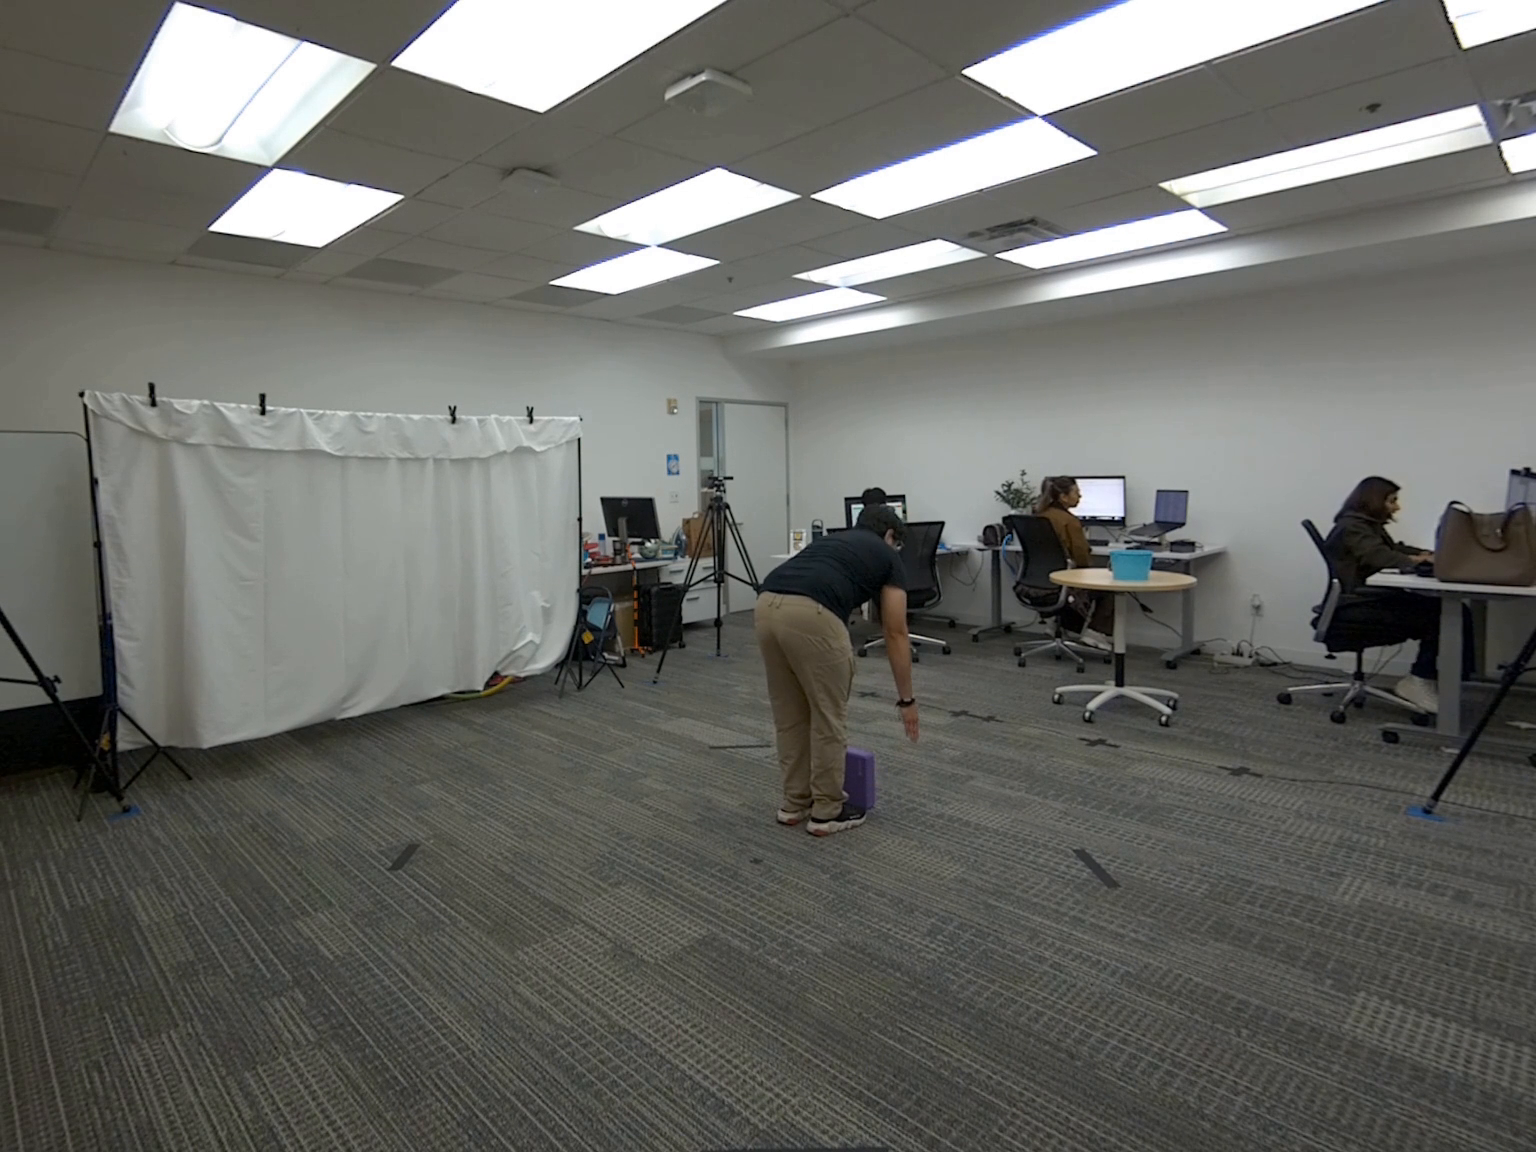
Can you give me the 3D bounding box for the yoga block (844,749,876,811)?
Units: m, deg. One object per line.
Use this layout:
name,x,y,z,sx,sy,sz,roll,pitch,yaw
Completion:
yoga block,0.374,0.848,3.618,0.074,0.228,0.153,-5,6,-40
